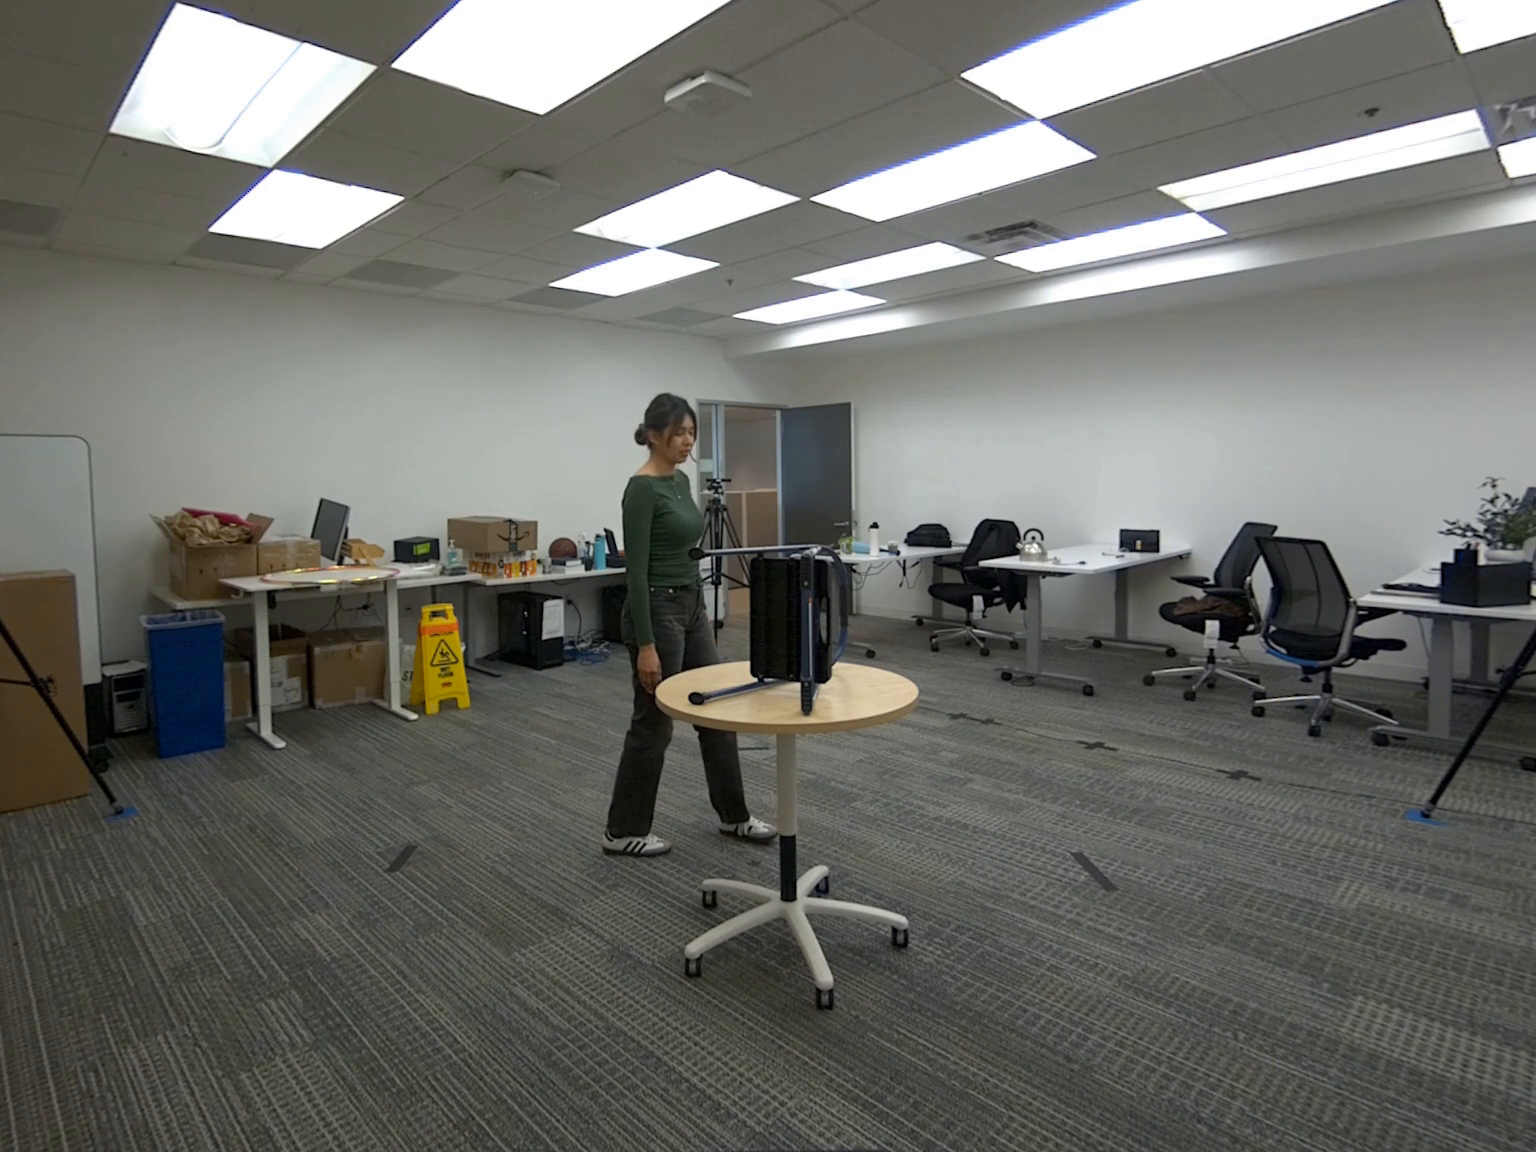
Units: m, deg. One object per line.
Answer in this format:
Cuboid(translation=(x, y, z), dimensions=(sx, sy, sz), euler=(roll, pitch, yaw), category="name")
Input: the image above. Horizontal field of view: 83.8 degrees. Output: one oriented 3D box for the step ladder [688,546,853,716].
Cuboid(translation=(0.061, 0.116, 2.527), dimensions=(0.357, 0.429, 0.594), euler=(2, 5, 23), category="step ladder")
